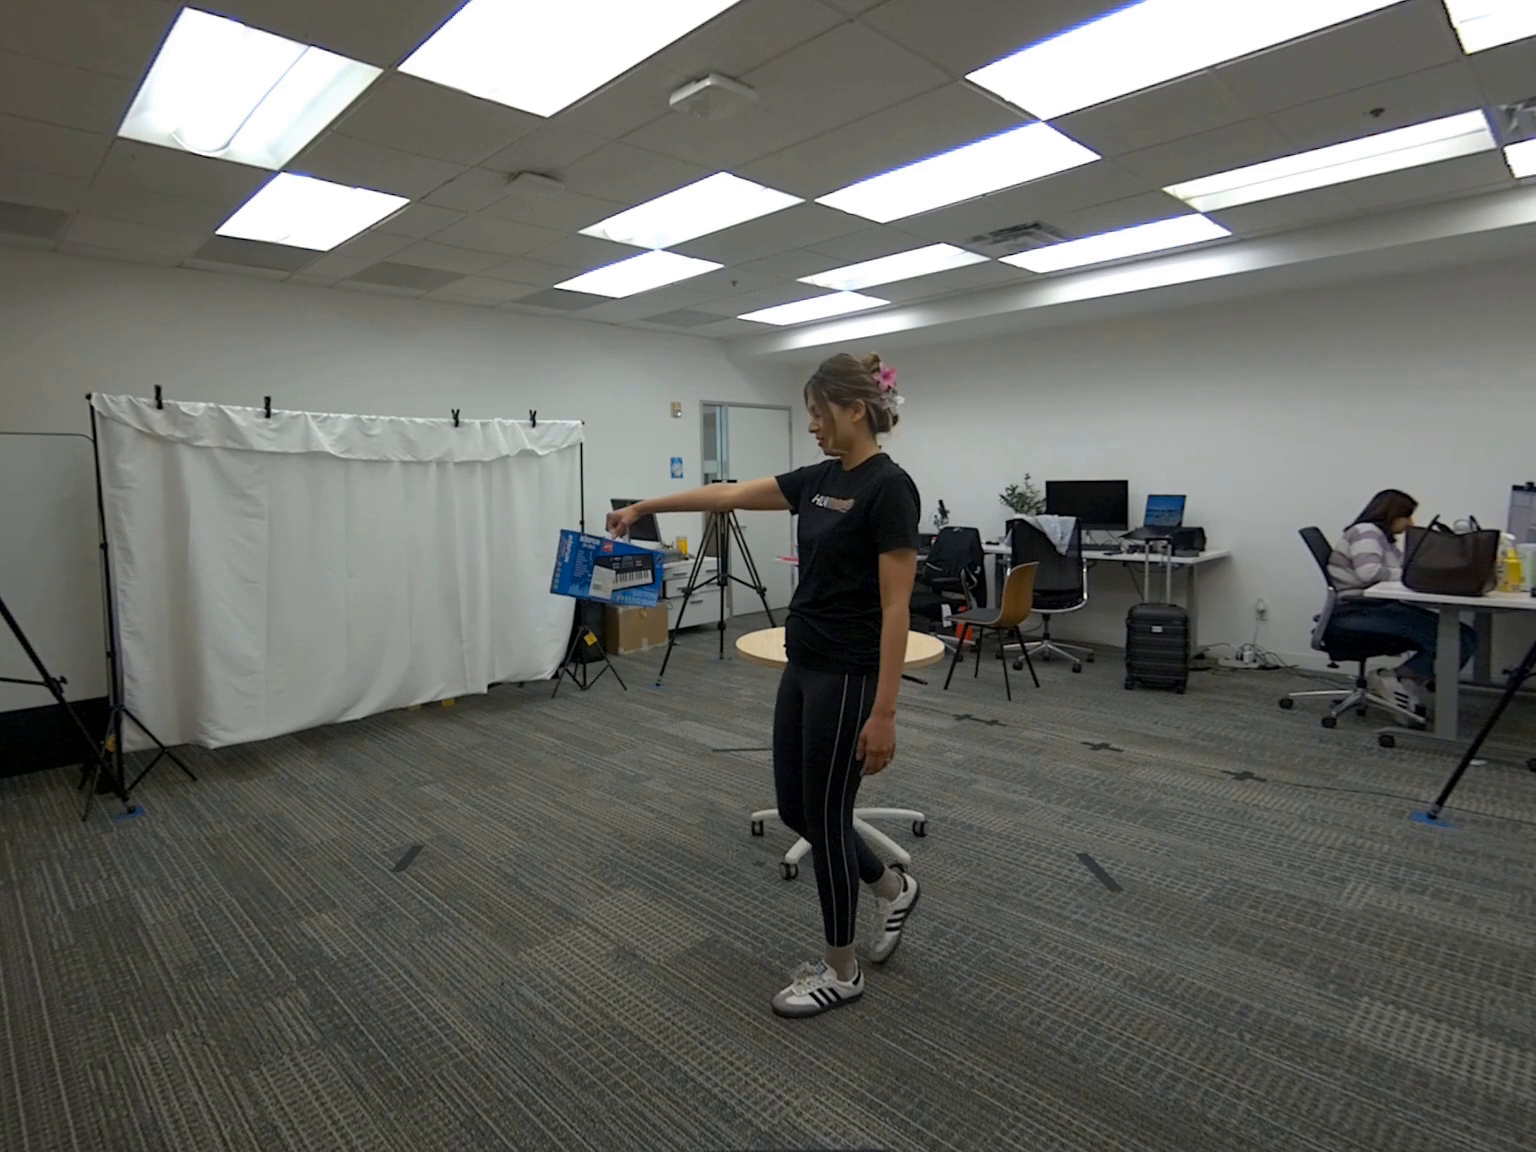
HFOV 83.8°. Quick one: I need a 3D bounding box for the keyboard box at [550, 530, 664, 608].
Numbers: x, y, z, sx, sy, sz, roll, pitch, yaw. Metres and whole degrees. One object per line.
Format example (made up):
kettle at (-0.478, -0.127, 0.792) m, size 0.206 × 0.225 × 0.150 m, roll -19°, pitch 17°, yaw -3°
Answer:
keyboard box at (-0.433, -0.009, 2.429) m, size 0.060 × 0.176 × 0.424 m, roll 6°, pitch -3°, yaw 25°
